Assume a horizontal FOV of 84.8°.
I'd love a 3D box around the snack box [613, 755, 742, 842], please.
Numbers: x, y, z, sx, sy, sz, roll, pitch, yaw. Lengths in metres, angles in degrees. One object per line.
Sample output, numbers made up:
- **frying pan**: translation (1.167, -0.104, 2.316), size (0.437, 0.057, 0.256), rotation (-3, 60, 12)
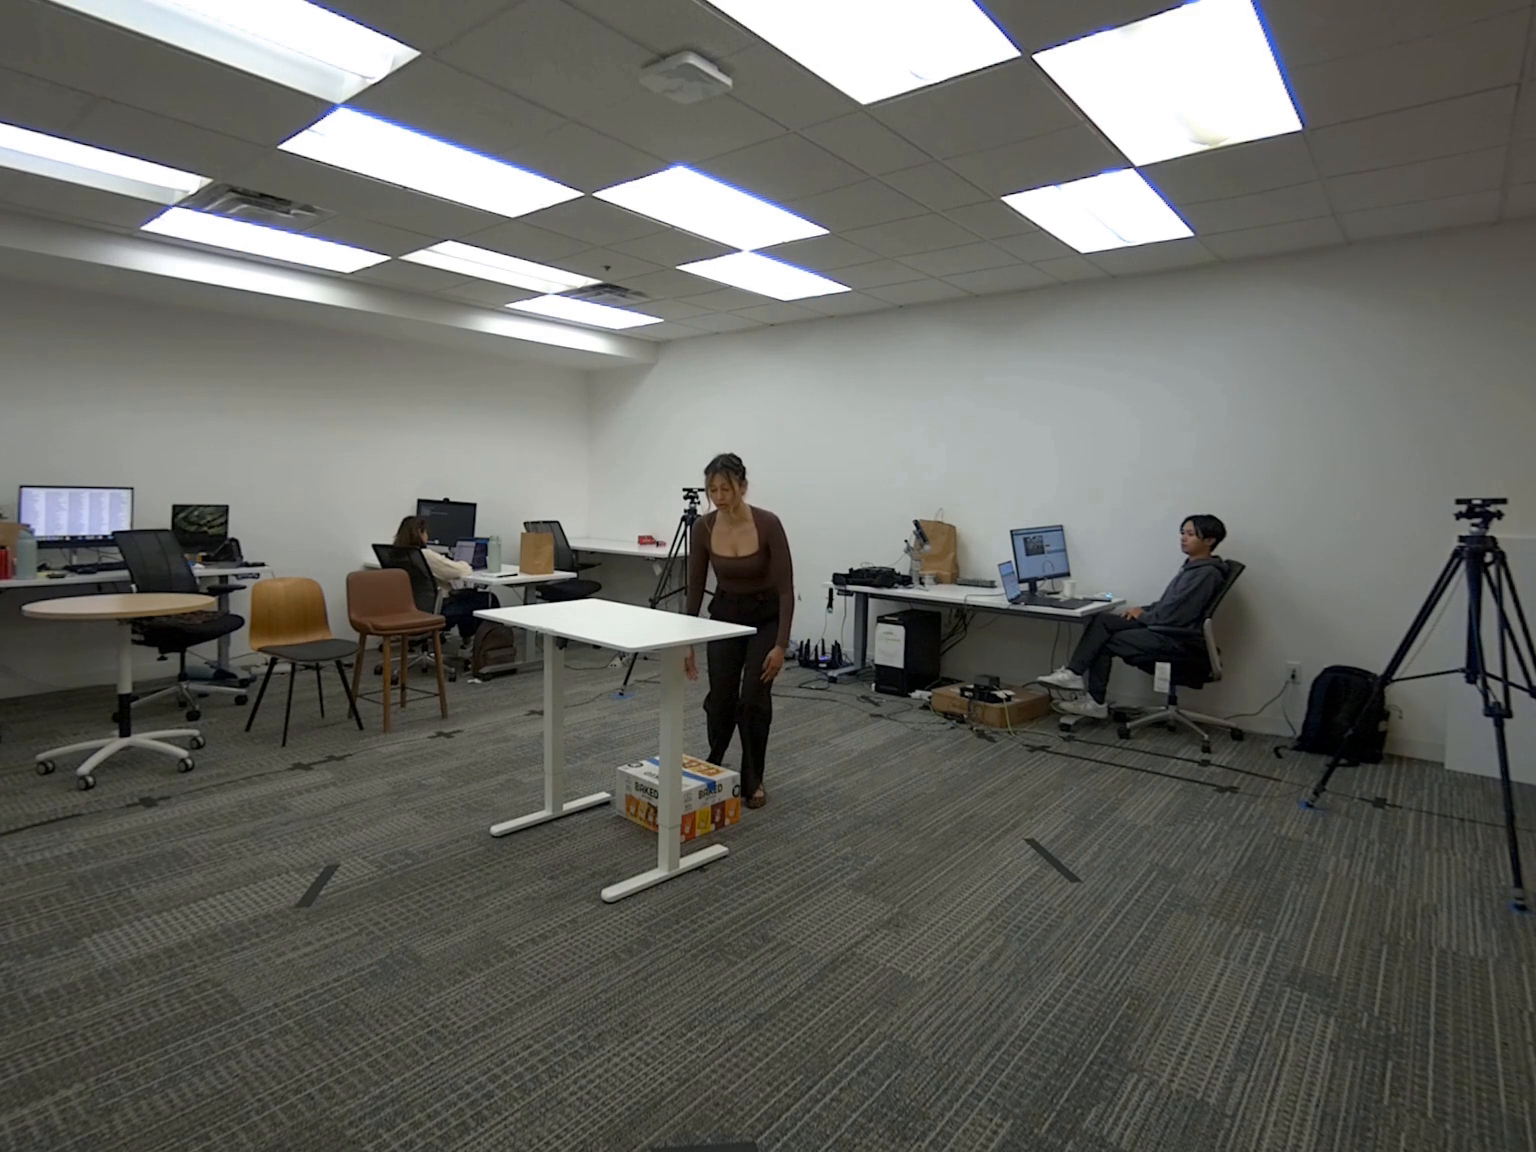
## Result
- **snack box**: translation (-0.394, 0.919, 3.586), size (0.419, 0.205, 0.330), rotation (6, 7, 43)
